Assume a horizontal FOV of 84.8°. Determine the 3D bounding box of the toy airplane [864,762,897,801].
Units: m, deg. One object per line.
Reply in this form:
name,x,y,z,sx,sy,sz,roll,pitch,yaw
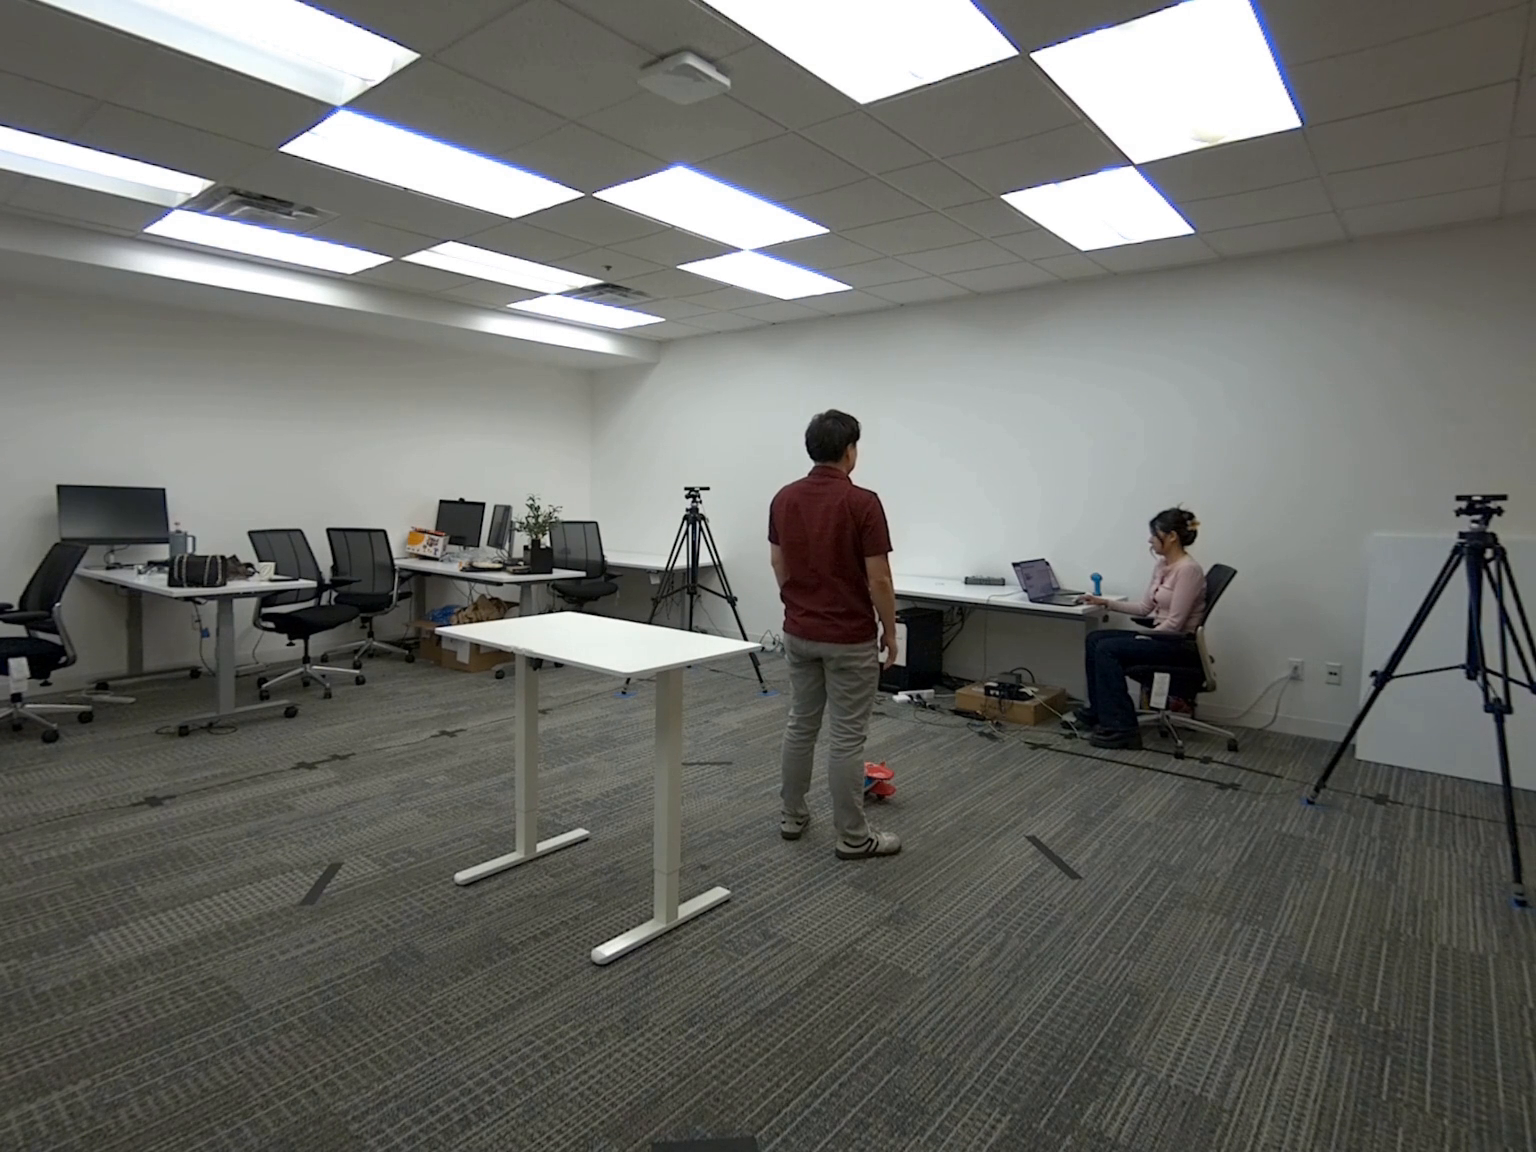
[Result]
toy airplane,0.438,0.931,3.814,0.254,0.156,0.256,1,3,11
